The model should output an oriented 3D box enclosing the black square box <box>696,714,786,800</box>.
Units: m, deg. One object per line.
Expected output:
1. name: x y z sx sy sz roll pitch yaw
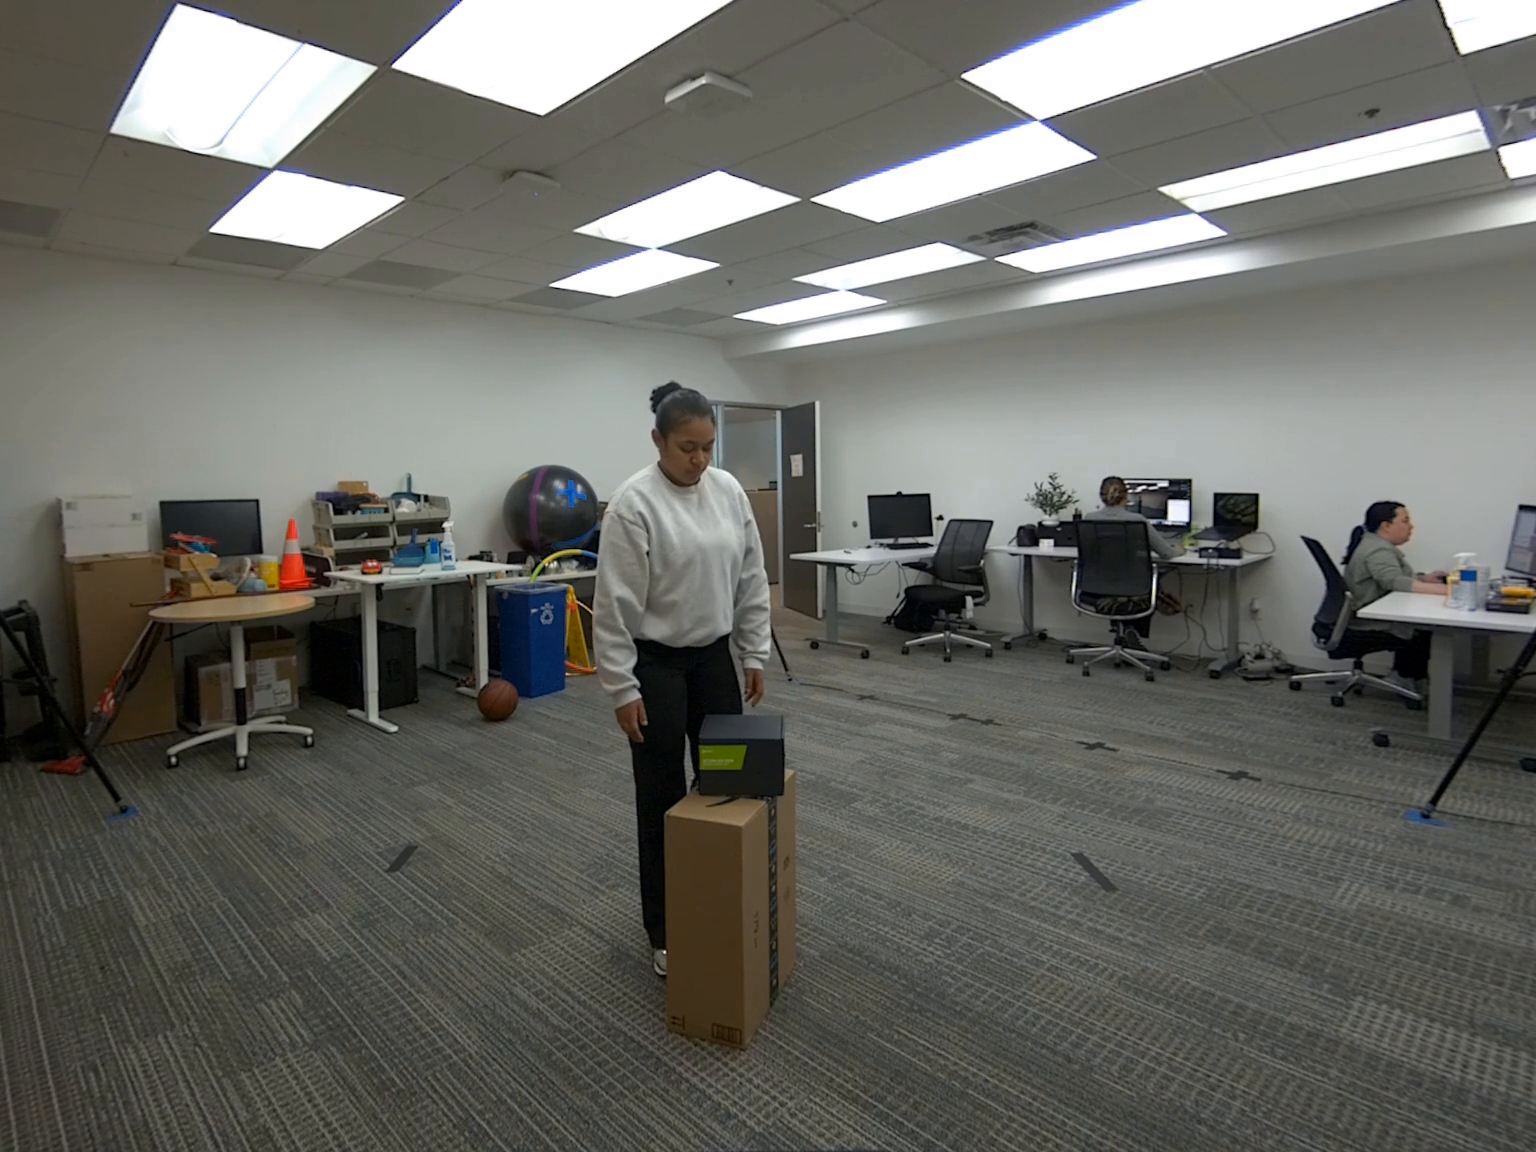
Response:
1. black square box: -0.069 0.480 2.364 0.229 0.155 0.217 -1 5 3
